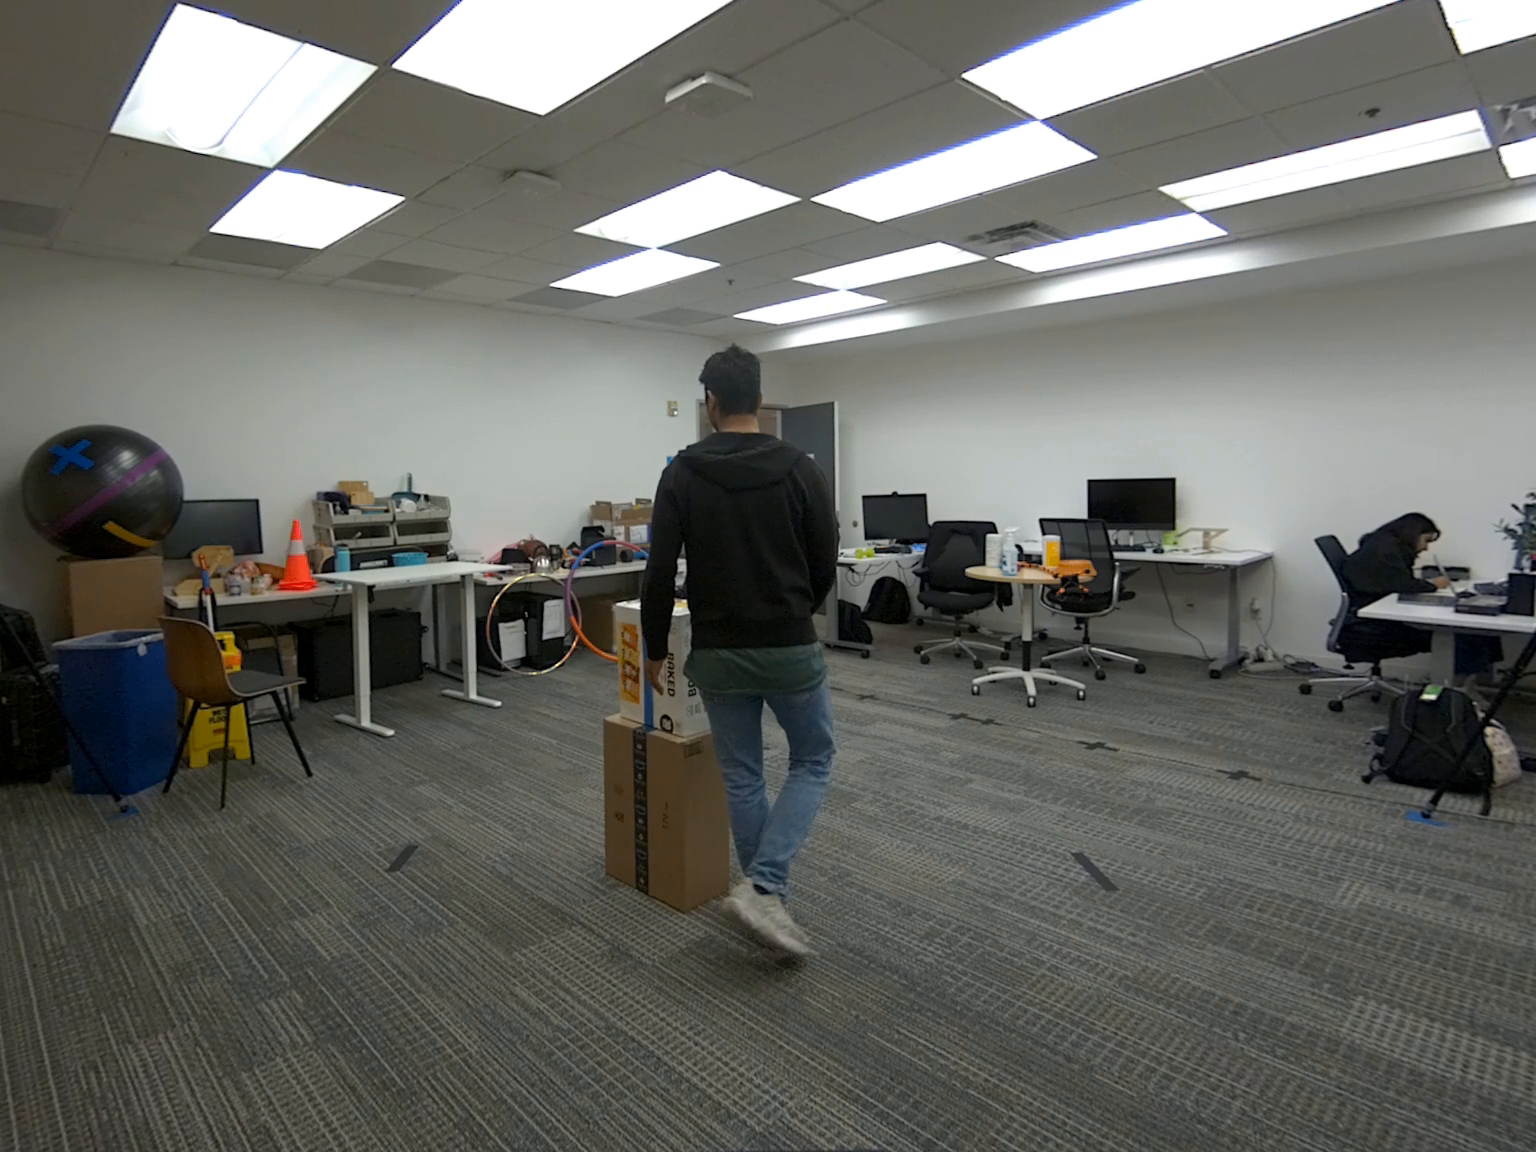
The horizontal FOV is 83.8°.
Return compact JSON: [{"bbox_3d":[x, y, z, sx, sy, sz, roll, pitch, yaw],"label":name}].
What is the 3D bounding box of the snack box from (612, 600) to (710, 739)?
[{"bbox_3d":[-0.331,0.298,2.941,0.351,0.403,0.200,4,8,45],"label":"snack box"}]
